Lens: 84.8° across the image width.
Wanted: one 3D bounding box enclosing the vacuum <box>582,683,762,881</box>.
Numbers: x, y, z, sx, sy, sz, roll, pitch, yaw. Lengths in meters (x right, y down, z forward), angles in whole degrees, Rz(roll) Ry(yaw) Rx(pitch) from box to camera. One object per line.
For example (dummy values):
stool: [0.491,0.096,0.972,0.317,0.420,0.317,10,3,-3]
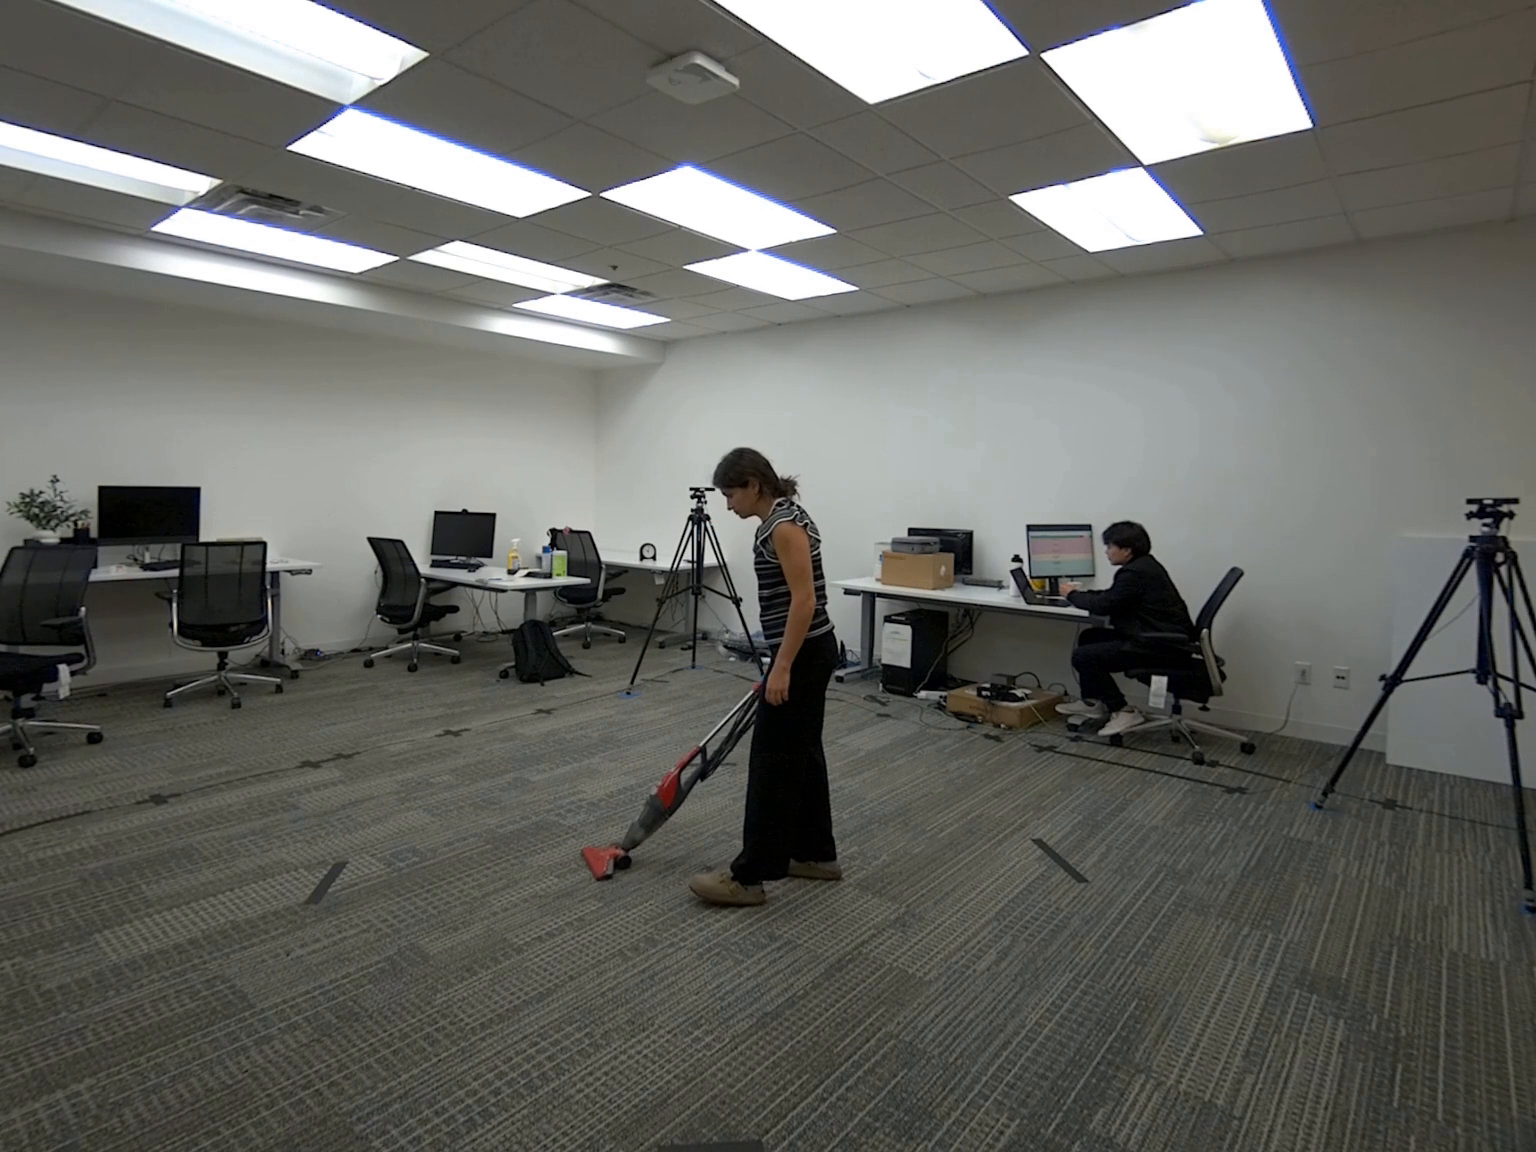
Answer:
vacuum: [-0.262,0.690,3.252,1.048,0.141,0.258,-45,17,-15]
